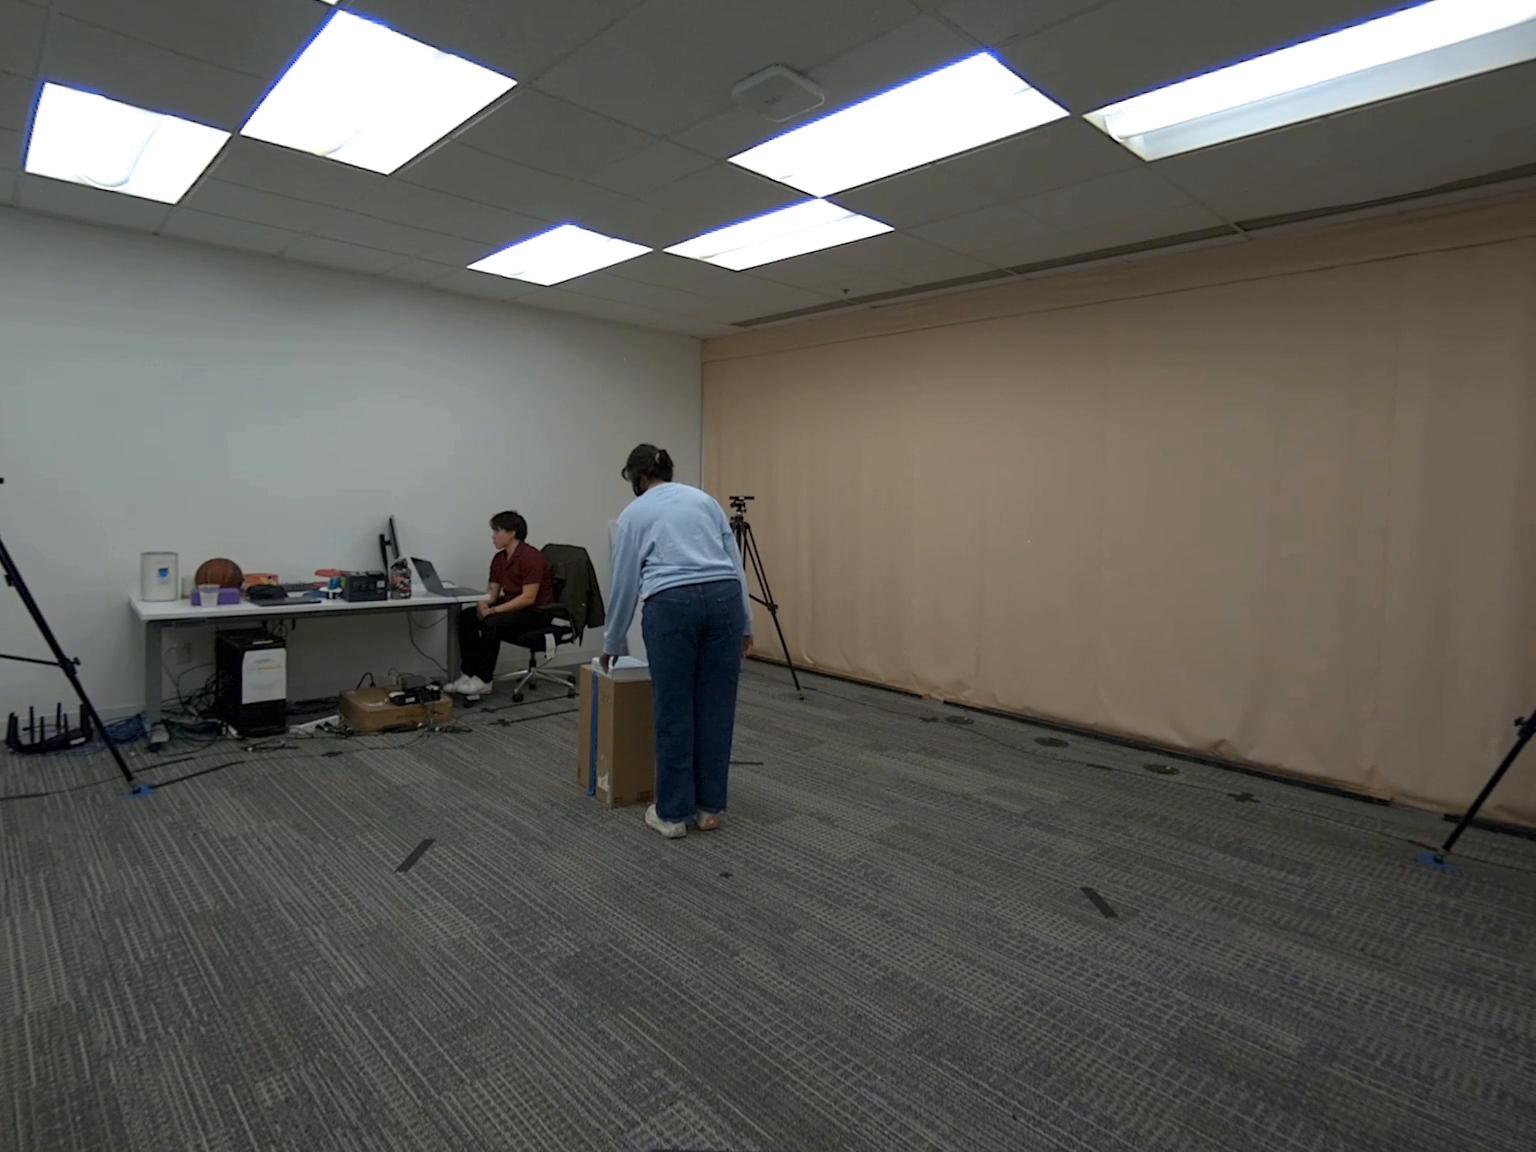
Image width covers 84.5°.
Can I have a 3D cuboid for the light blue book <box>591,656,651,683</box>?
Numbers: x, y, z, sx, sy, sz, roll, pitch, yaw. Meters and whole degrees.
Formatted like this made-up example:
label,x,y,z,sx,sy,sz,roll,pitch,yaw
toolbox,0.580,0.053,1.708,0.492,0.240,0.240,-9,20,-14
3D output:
label,x,y,z,sx,sy,sz,roll,pitch,yaw
light blue book,-0.681,0.428,3.913,0.187,0.059,0.267,0,5,-31
